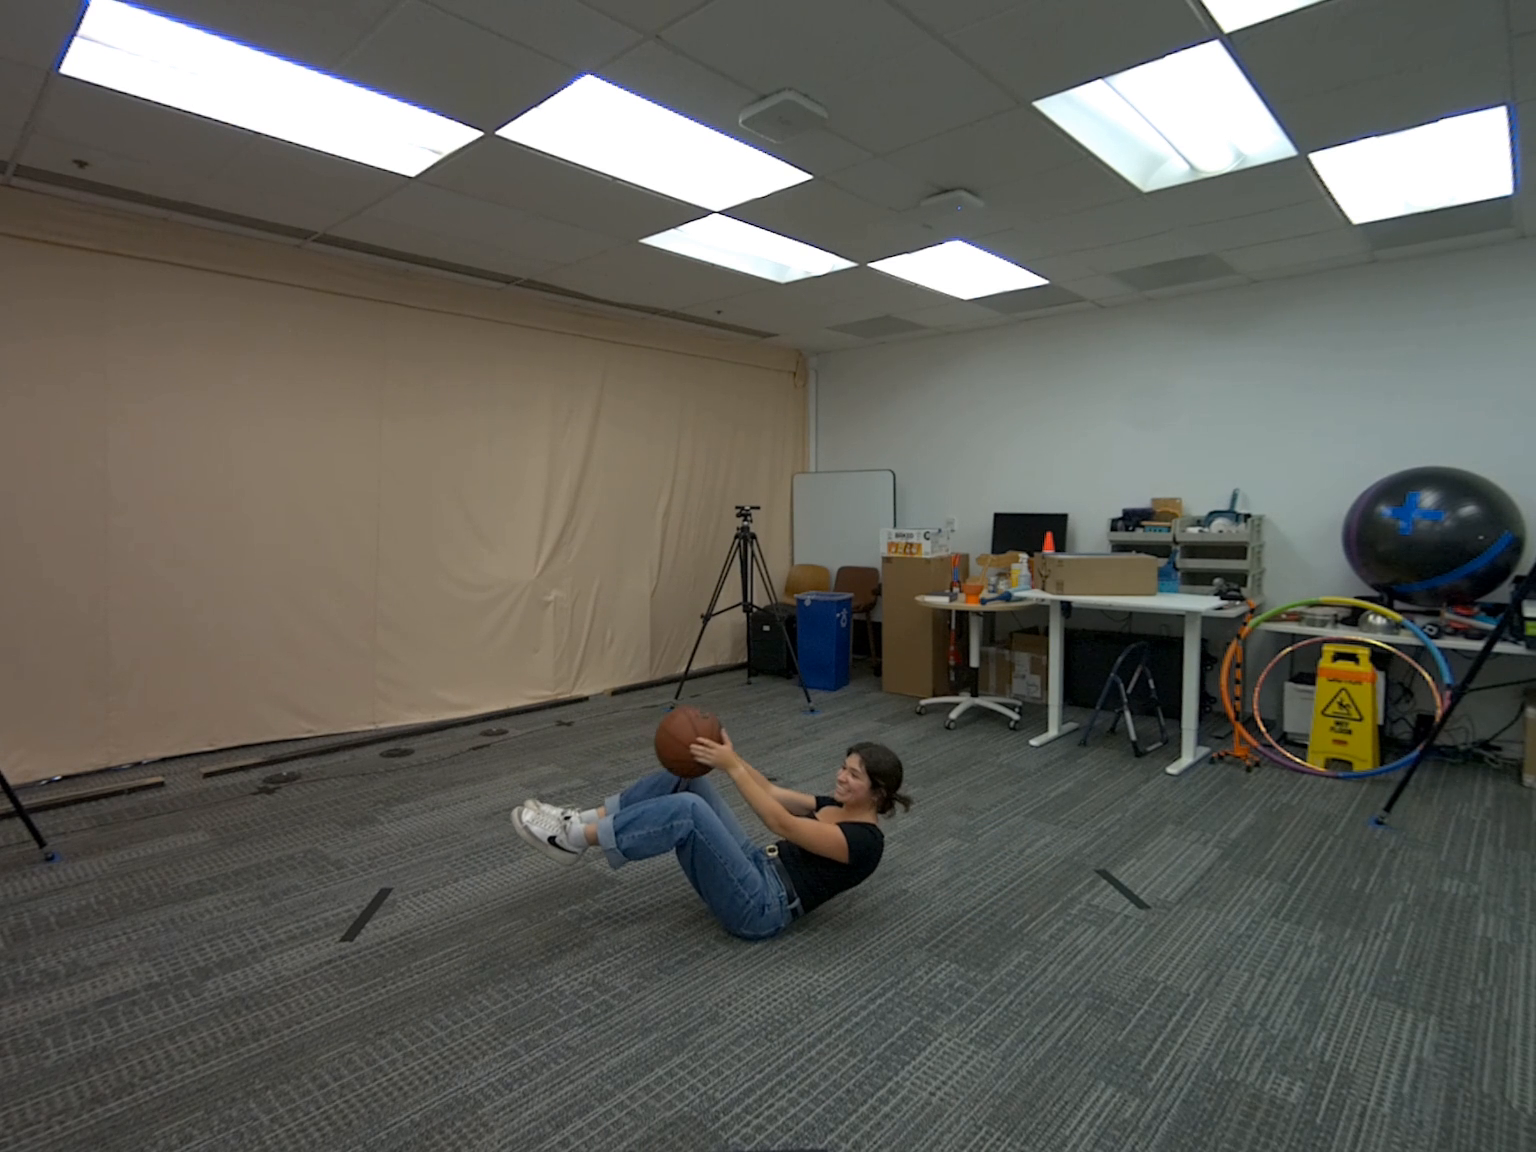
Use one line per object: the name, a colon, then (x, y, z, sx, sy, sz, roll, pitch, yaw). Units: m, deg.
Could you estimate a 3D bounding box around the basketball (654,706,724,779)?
basketball: (-0.240, 0.552, 2.825, 0.236, 0.235, 0.237, 0, 4, -2)
